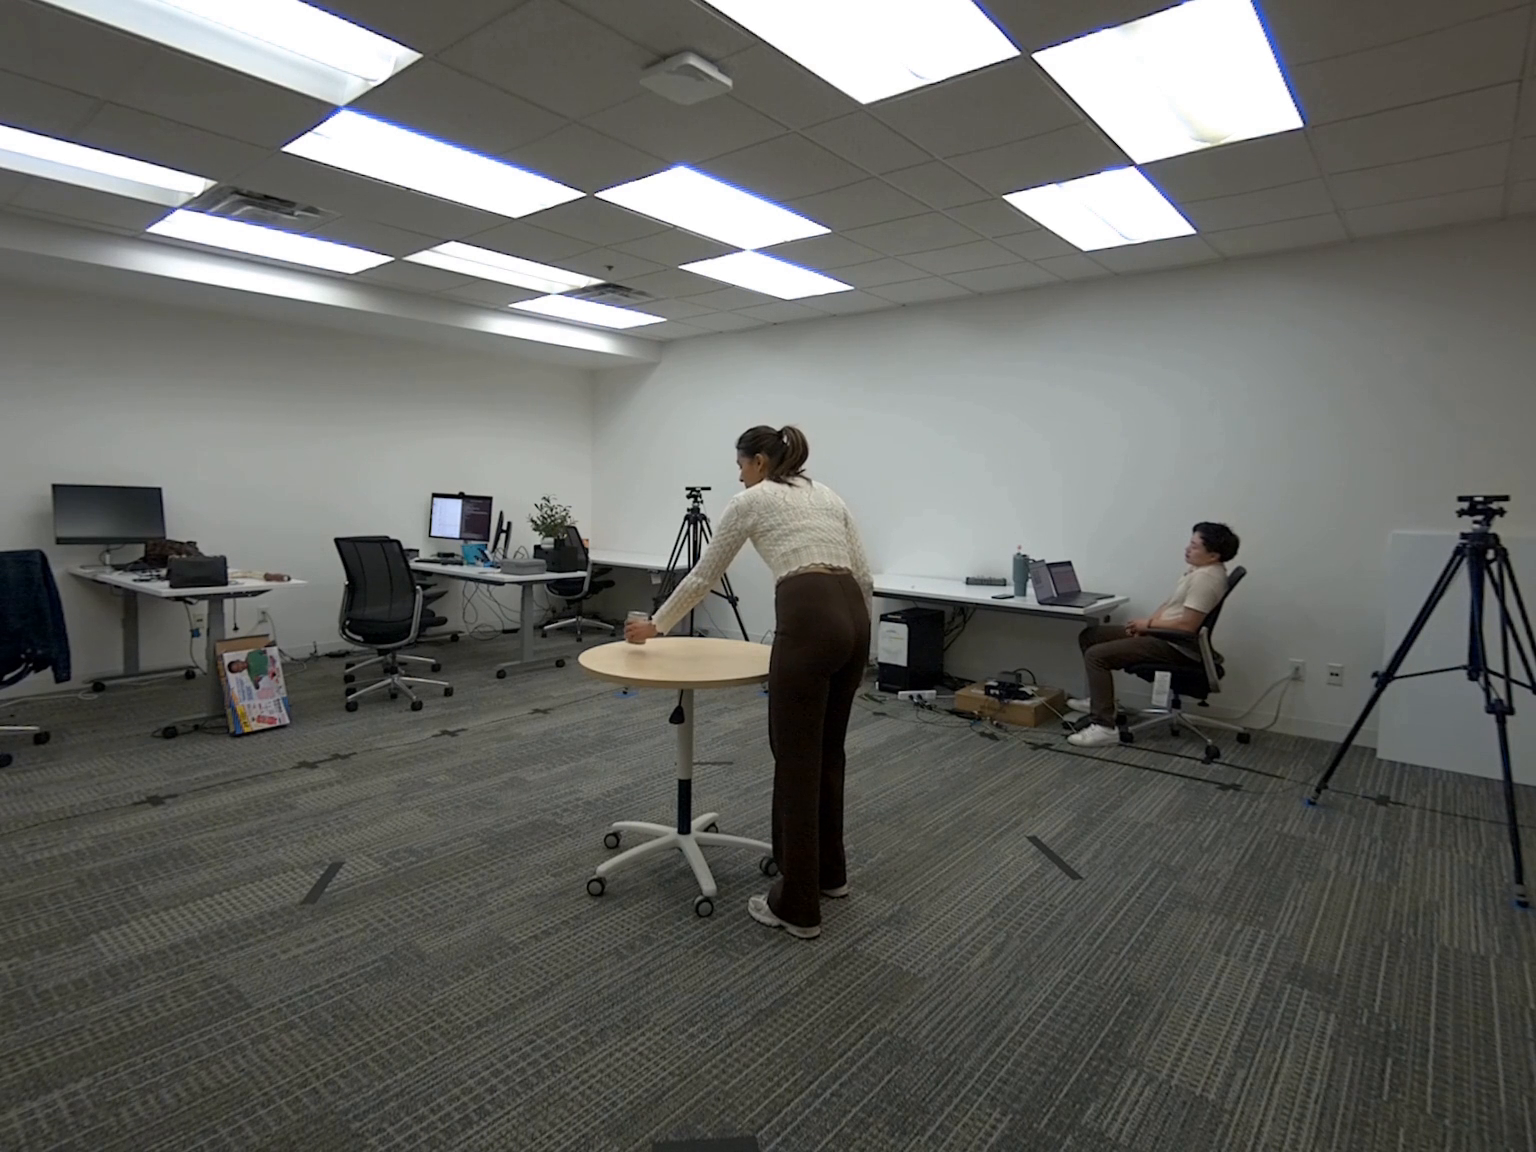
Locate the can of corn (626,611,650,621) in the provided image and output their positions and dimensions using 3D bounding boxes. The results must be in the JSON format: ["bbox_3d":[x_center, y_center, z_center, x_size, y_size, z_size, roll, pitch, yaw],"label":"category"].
[{"bbox_3d":[-0.489,0.188,3.149,0.074,0.111,0.074,2,2,-2],"label":"can of corn"}]
